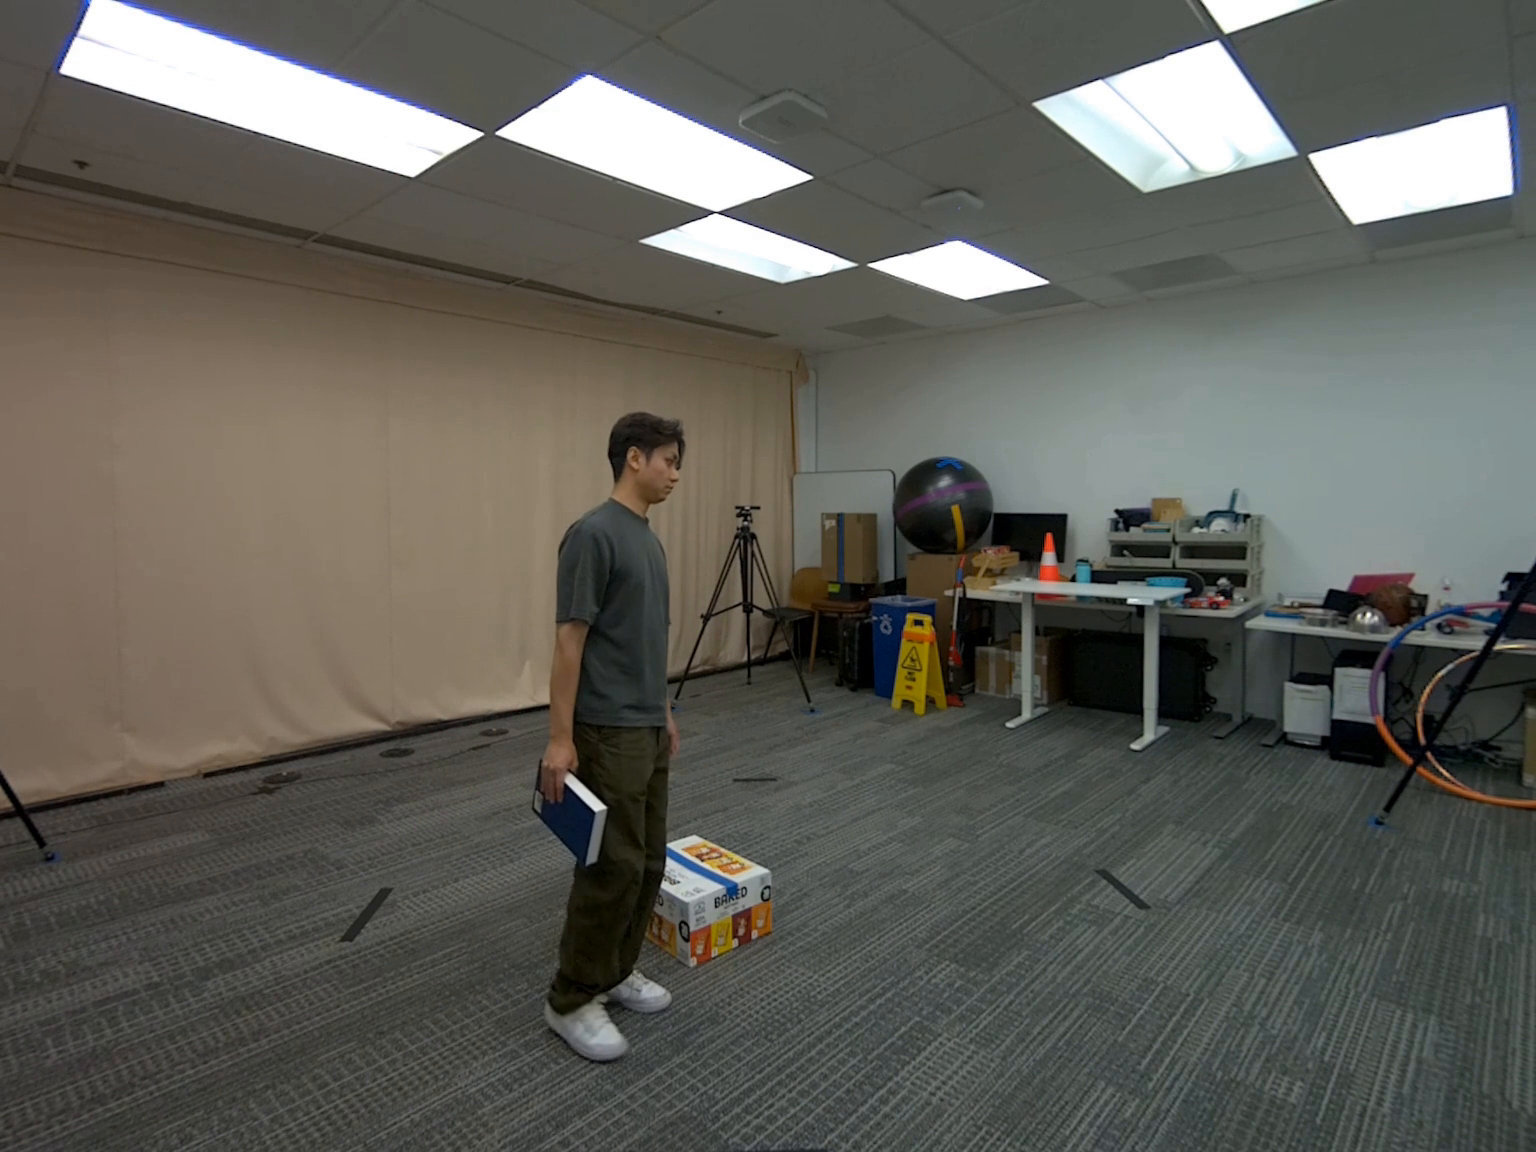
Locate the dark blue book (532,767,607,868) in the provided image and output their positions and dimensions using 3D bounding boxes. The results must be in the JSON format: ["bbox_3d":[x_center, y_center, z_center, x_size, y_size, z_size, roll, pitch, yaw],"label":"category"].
[{"bbox_3d":[-0.491,0.576,2.105,0.044,0.162,0.254,-3,25,-44],"label":"dark blue book"}]
